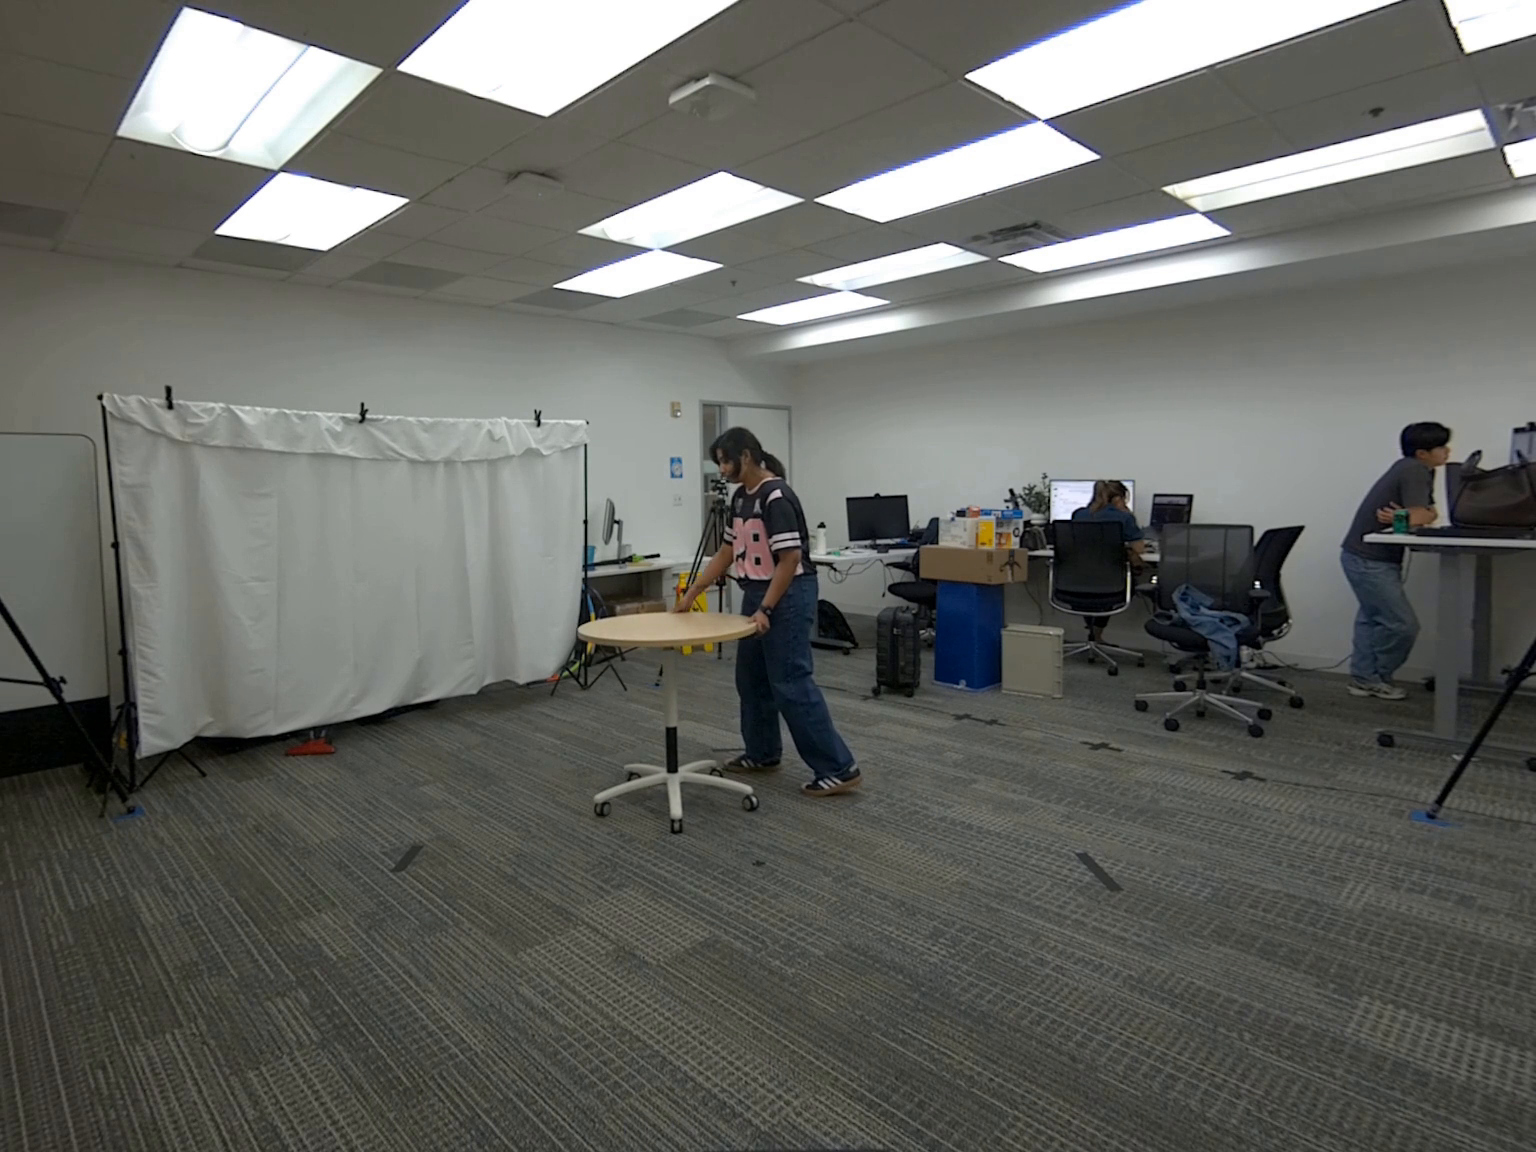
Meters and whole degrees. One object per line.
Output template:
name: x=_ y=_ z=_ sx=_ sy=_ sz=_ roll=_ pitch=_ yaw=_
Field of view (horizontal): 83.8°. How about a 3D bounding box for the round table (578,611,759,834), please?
round table: x=-0.405 y=0.596 z=3.675 sx=0.784 sy=0.784 sz=0.789 roll=-2 pitch=4 yaw=-2
